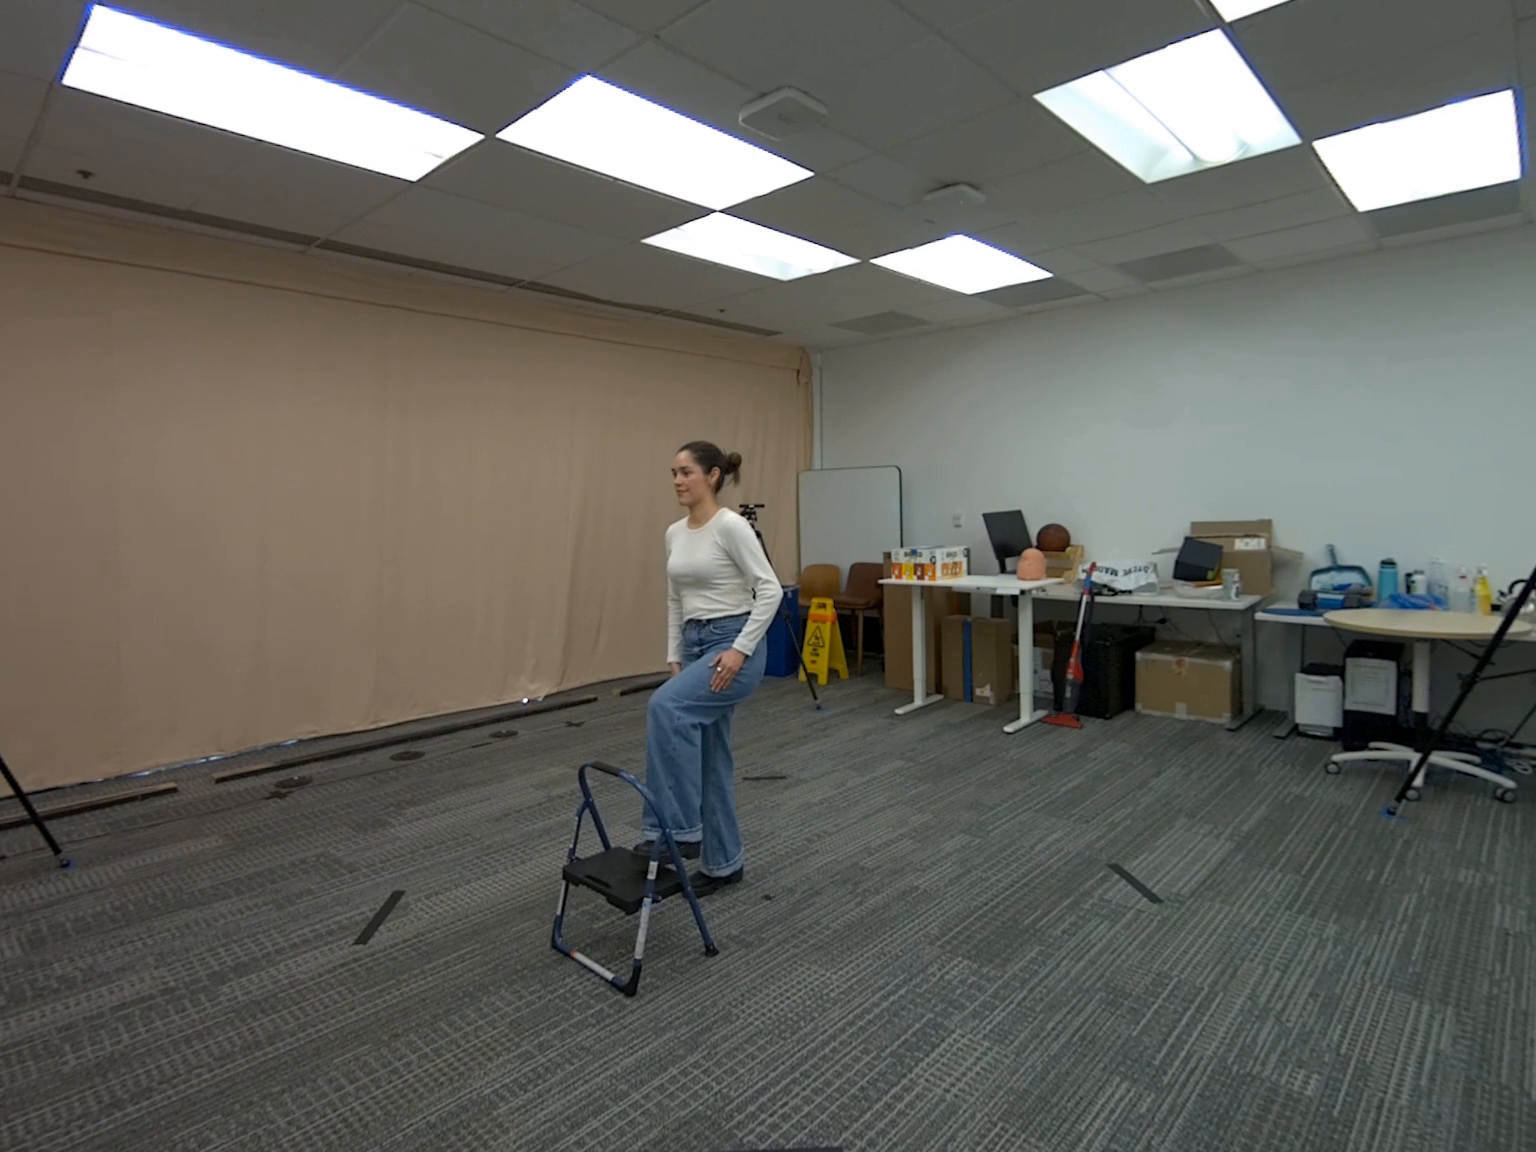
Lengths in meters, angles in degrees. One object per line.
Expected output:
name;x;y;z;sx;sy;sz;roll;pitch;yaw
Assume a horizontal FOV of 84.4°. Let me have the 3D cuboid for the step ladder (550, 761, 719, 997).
step ladder;-0.433;0.877;2.635;0.445;0.605;0.339;2;5;43
